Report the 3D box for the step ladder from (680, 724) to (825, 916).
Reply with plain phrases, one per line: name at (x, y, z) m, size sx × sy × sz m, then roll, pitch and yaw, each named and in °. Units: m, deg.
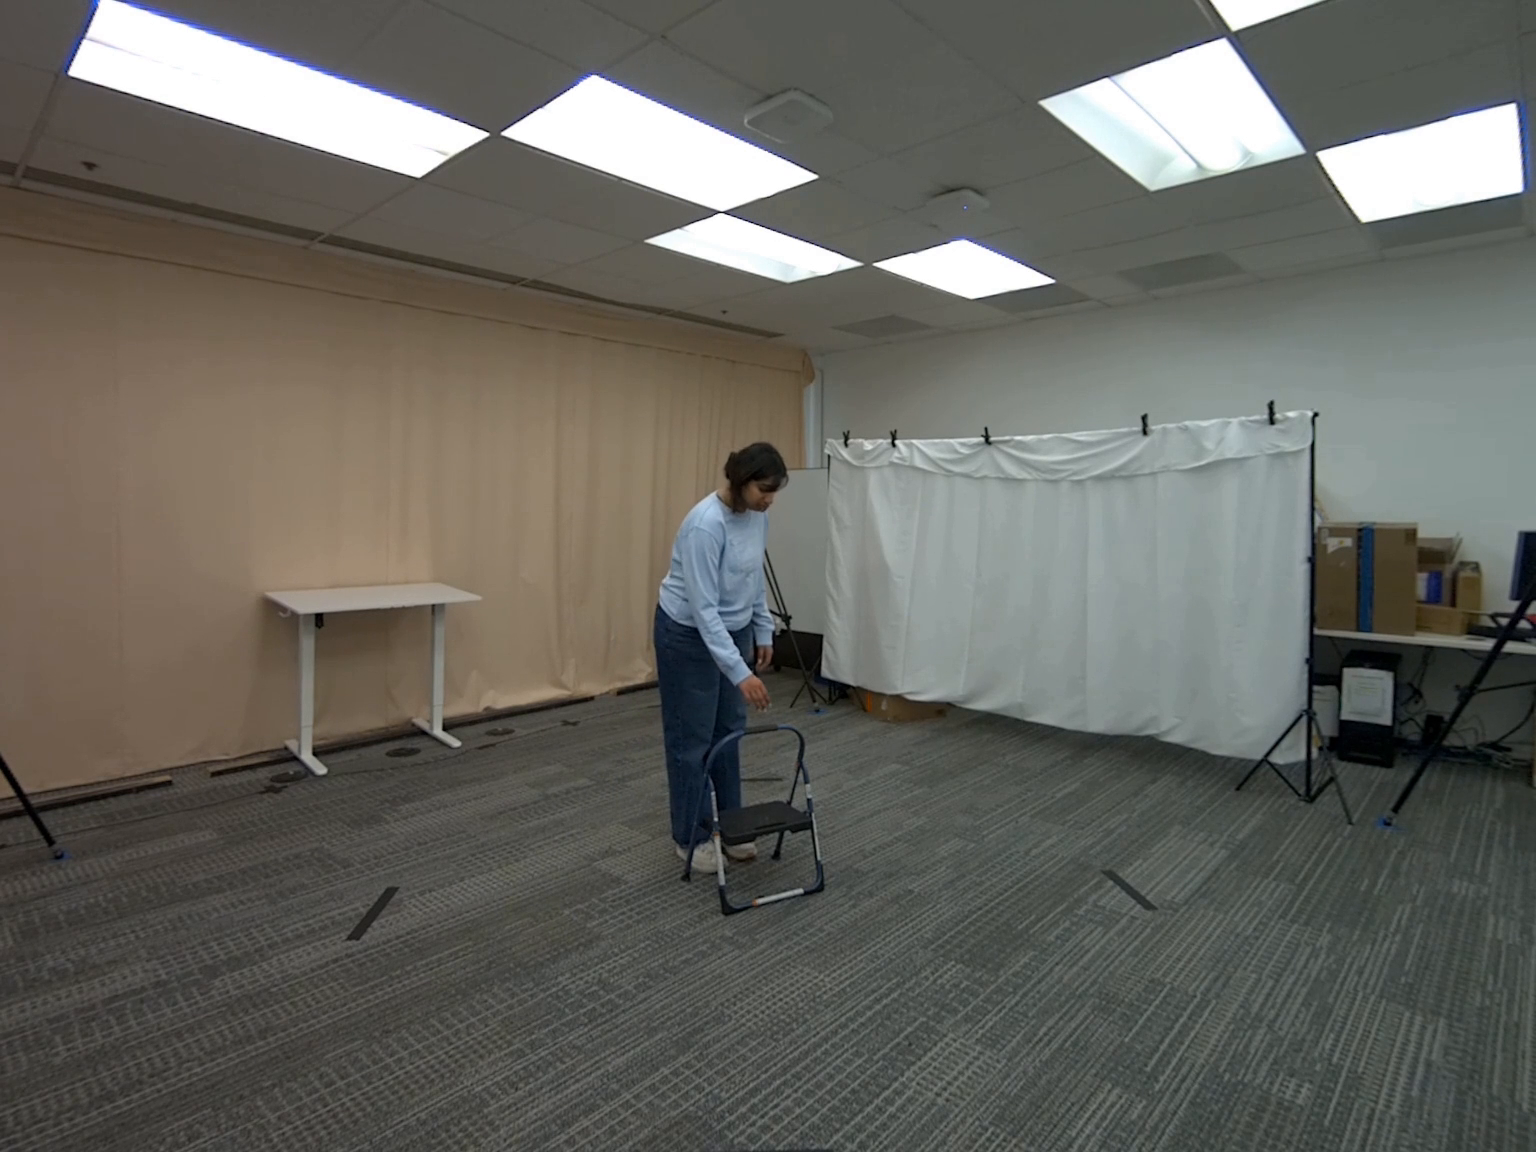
step ladder at (-0.060, 0.830, 3.081) m, size 0.419 × 0.605 × 0.359 m, roll -3°, pitch 3°, yaw -30°
